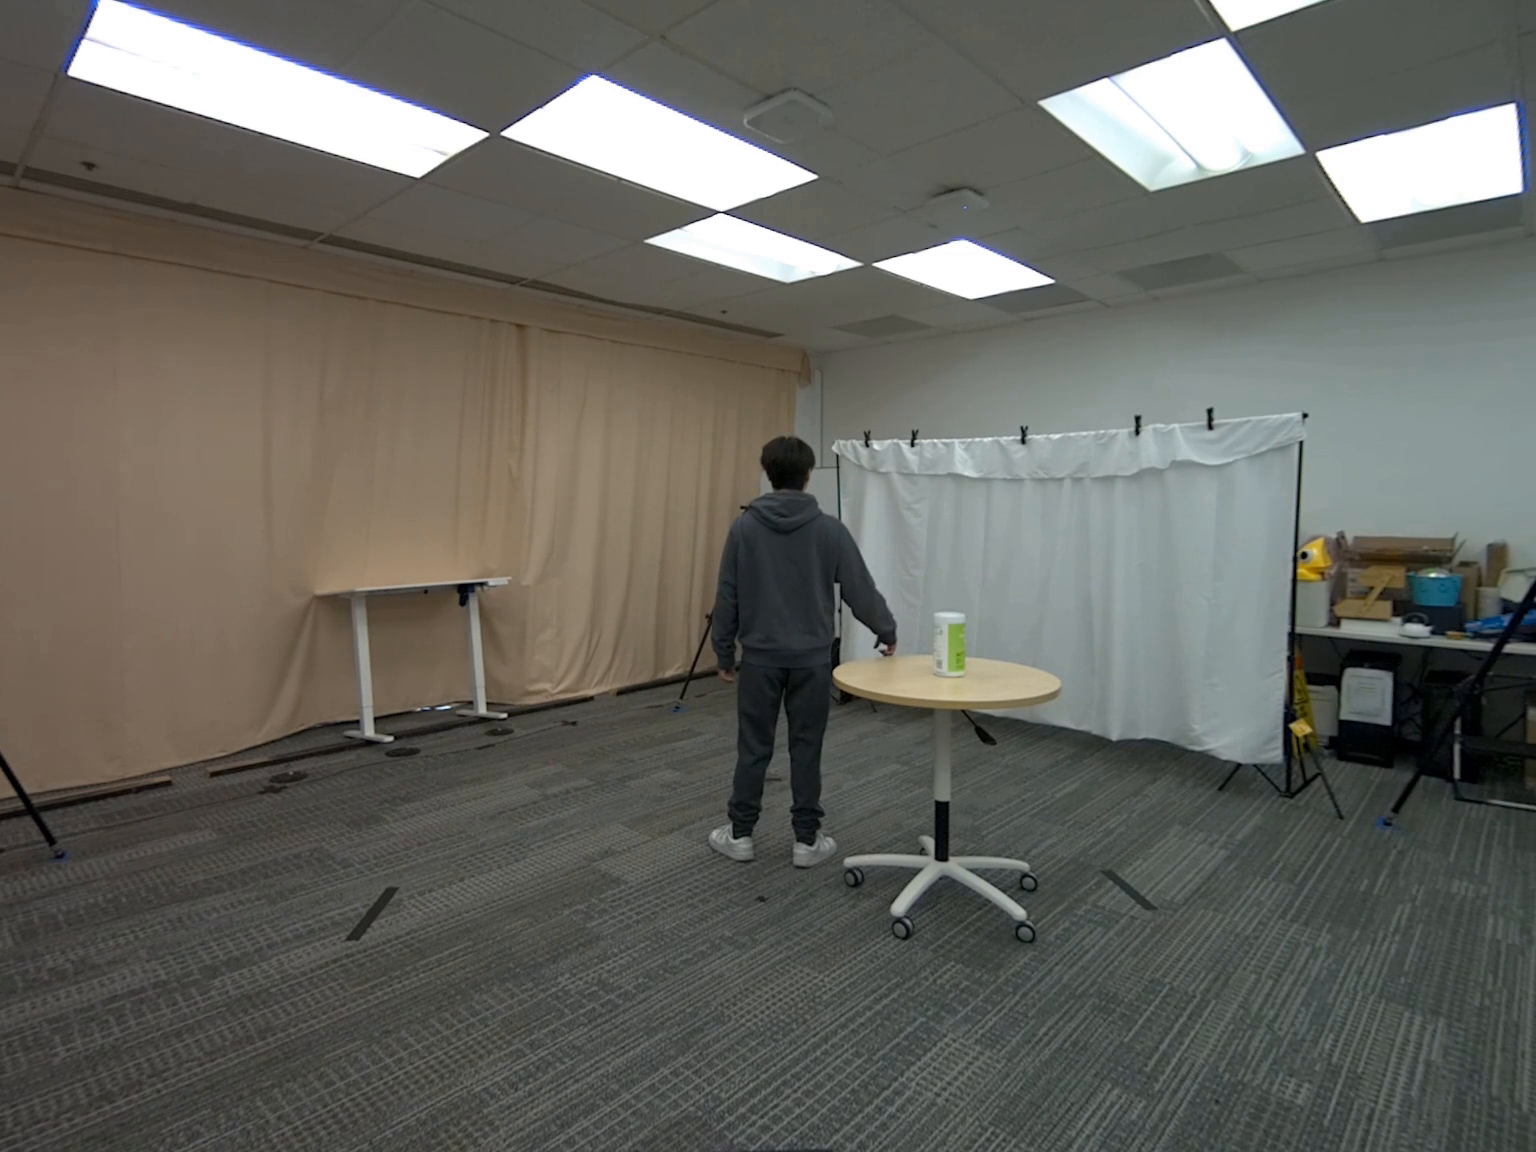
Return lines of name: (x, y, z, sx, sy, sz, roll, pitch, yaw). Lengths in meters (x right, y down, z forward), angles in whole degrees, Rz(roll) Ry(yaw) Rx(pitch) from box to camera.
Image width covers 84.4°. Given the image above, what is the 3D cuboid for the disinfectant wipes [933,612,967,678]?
disinfectant wipes: (0.641, 0.240, 2.951, 0.118, 0.217, 0.118, -2, 1, -2)
